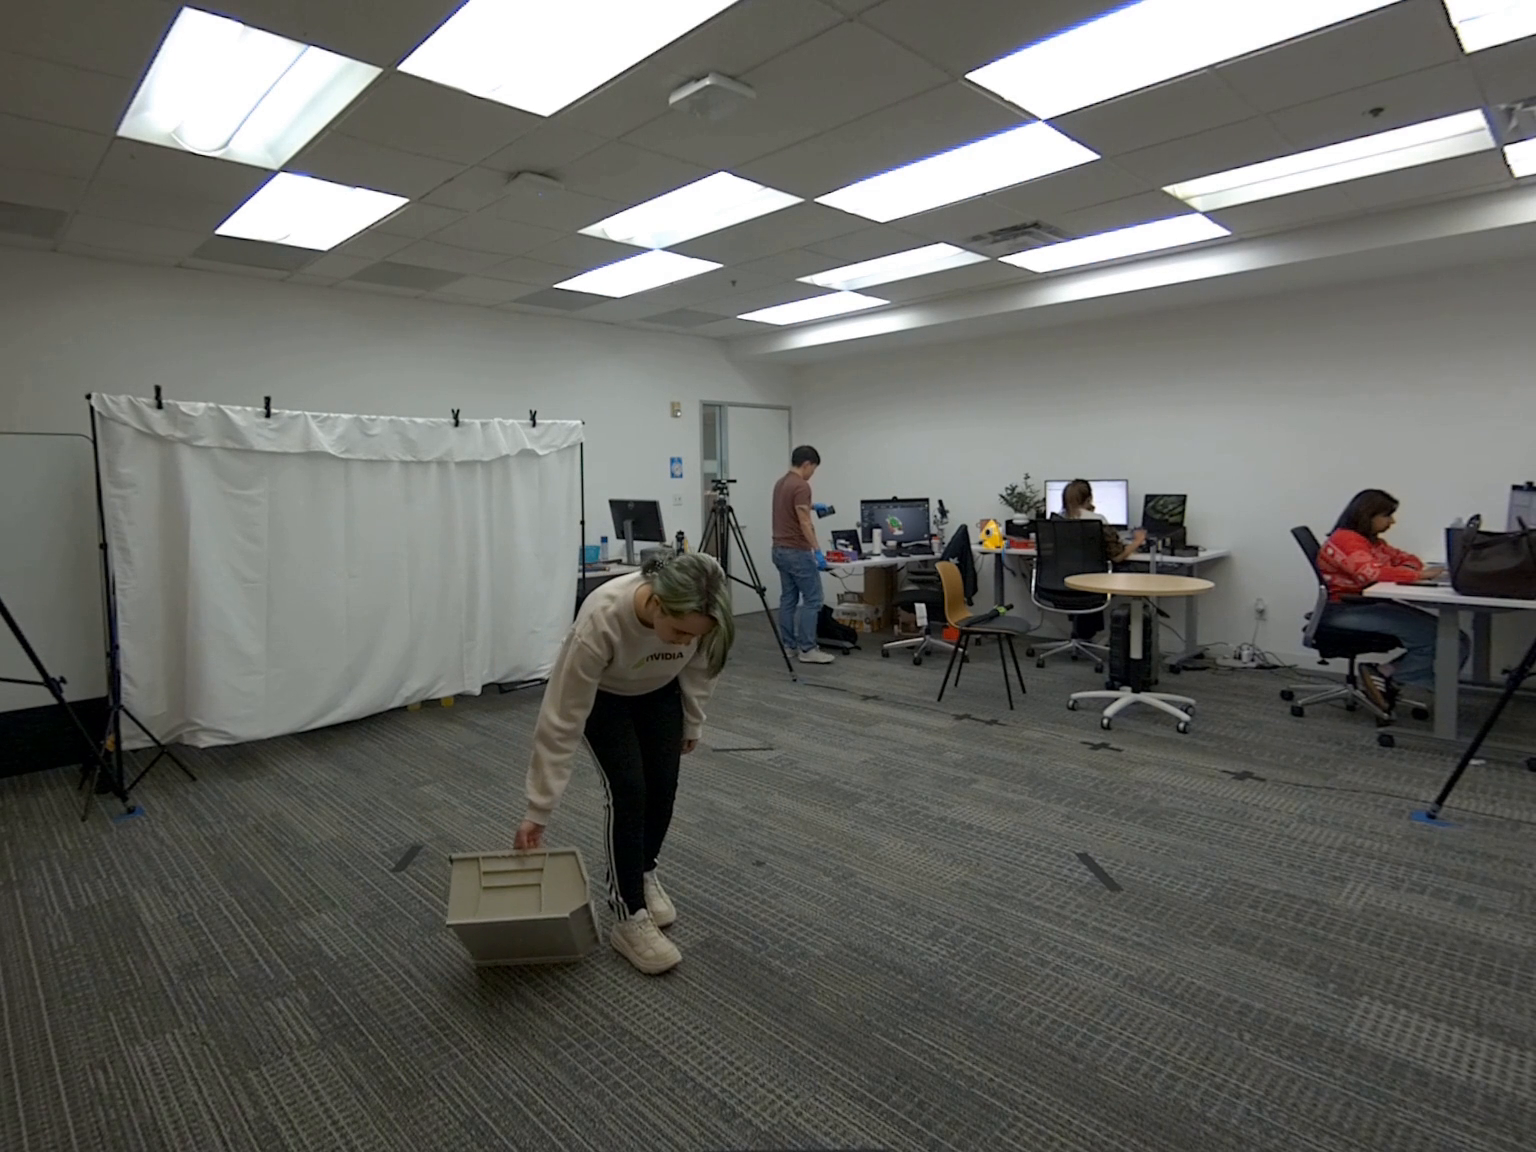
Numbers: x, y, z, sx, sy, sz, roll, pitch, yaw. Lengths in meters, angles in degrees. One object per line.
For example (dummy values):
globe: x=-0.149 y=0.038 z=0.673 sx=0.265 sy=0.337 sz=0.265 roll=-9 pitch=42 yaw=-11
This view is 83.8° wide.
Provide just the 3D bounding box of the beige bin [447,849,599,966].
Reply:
beige bin: x=-0.671 y=0.944 z=2.389 sx=0.375 sy=0.194 sz=0.412 roll=-2 pitch=-37 yaw=-6
